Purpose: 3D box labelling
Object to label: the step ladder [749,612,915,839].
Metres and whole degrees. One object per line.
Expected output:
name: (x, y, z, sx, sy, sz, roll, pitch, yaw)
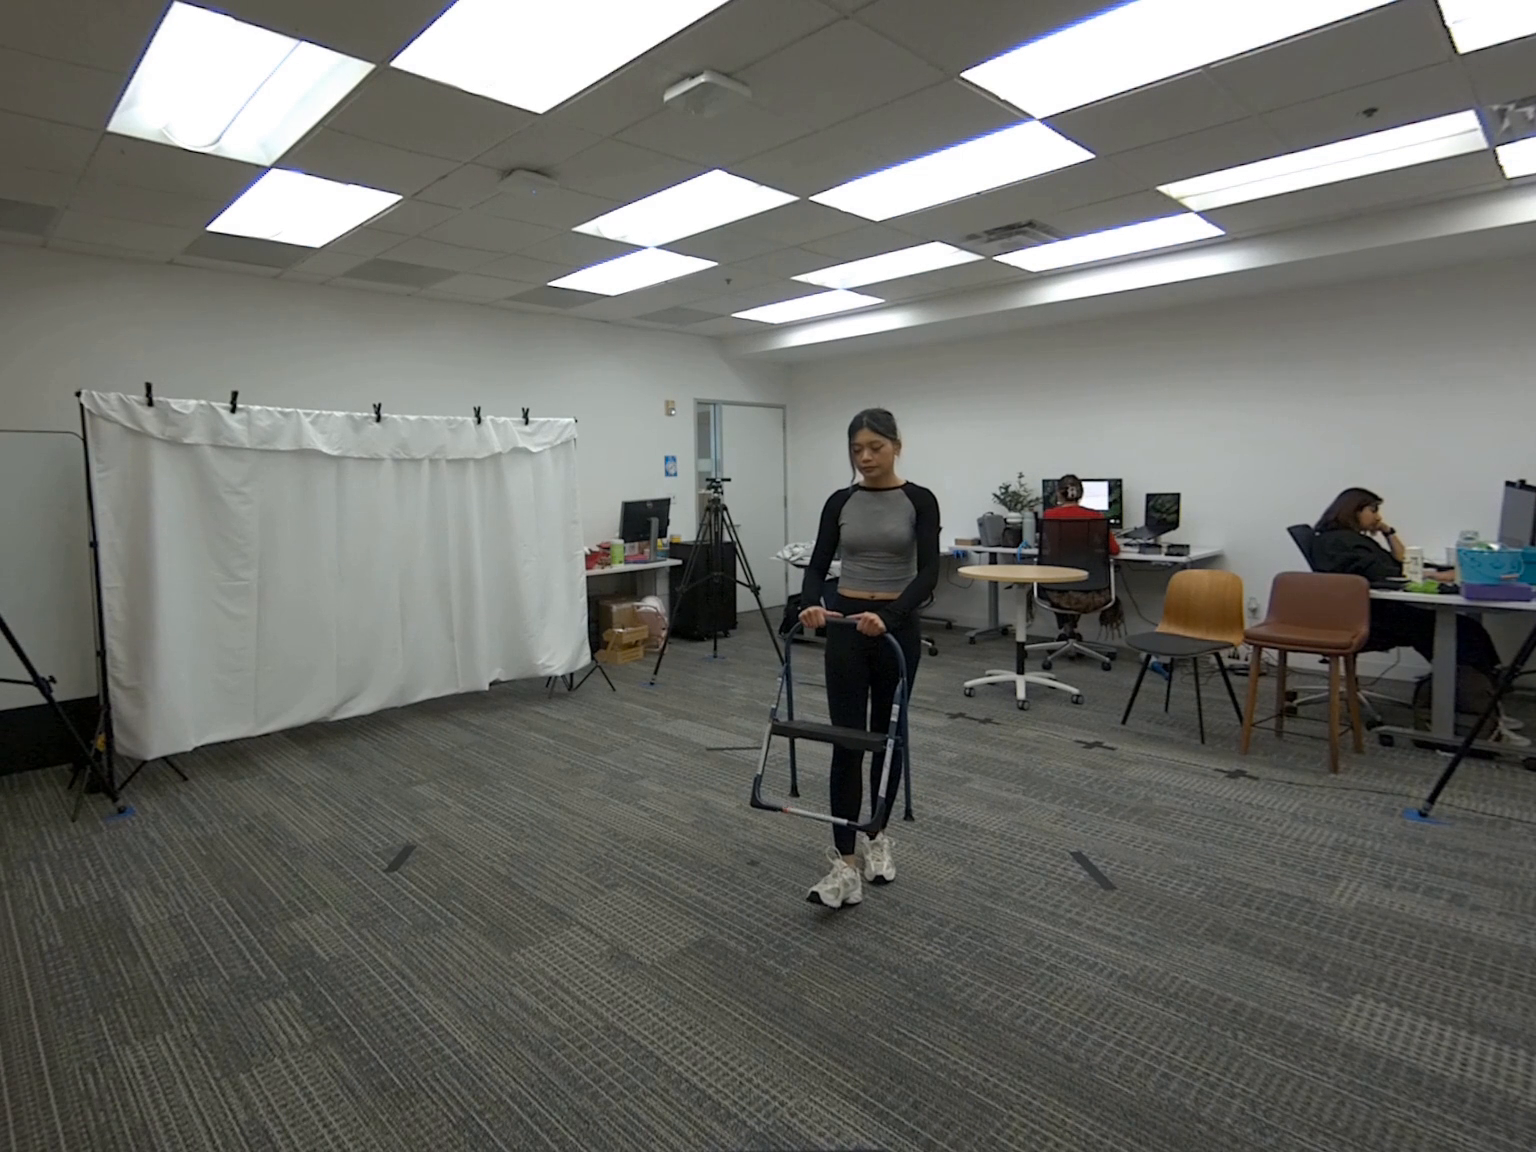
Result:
step ladder: (0.228, 0.441, 2.695, 0.441, 0.609, 0.339, 2, -7, 28)
